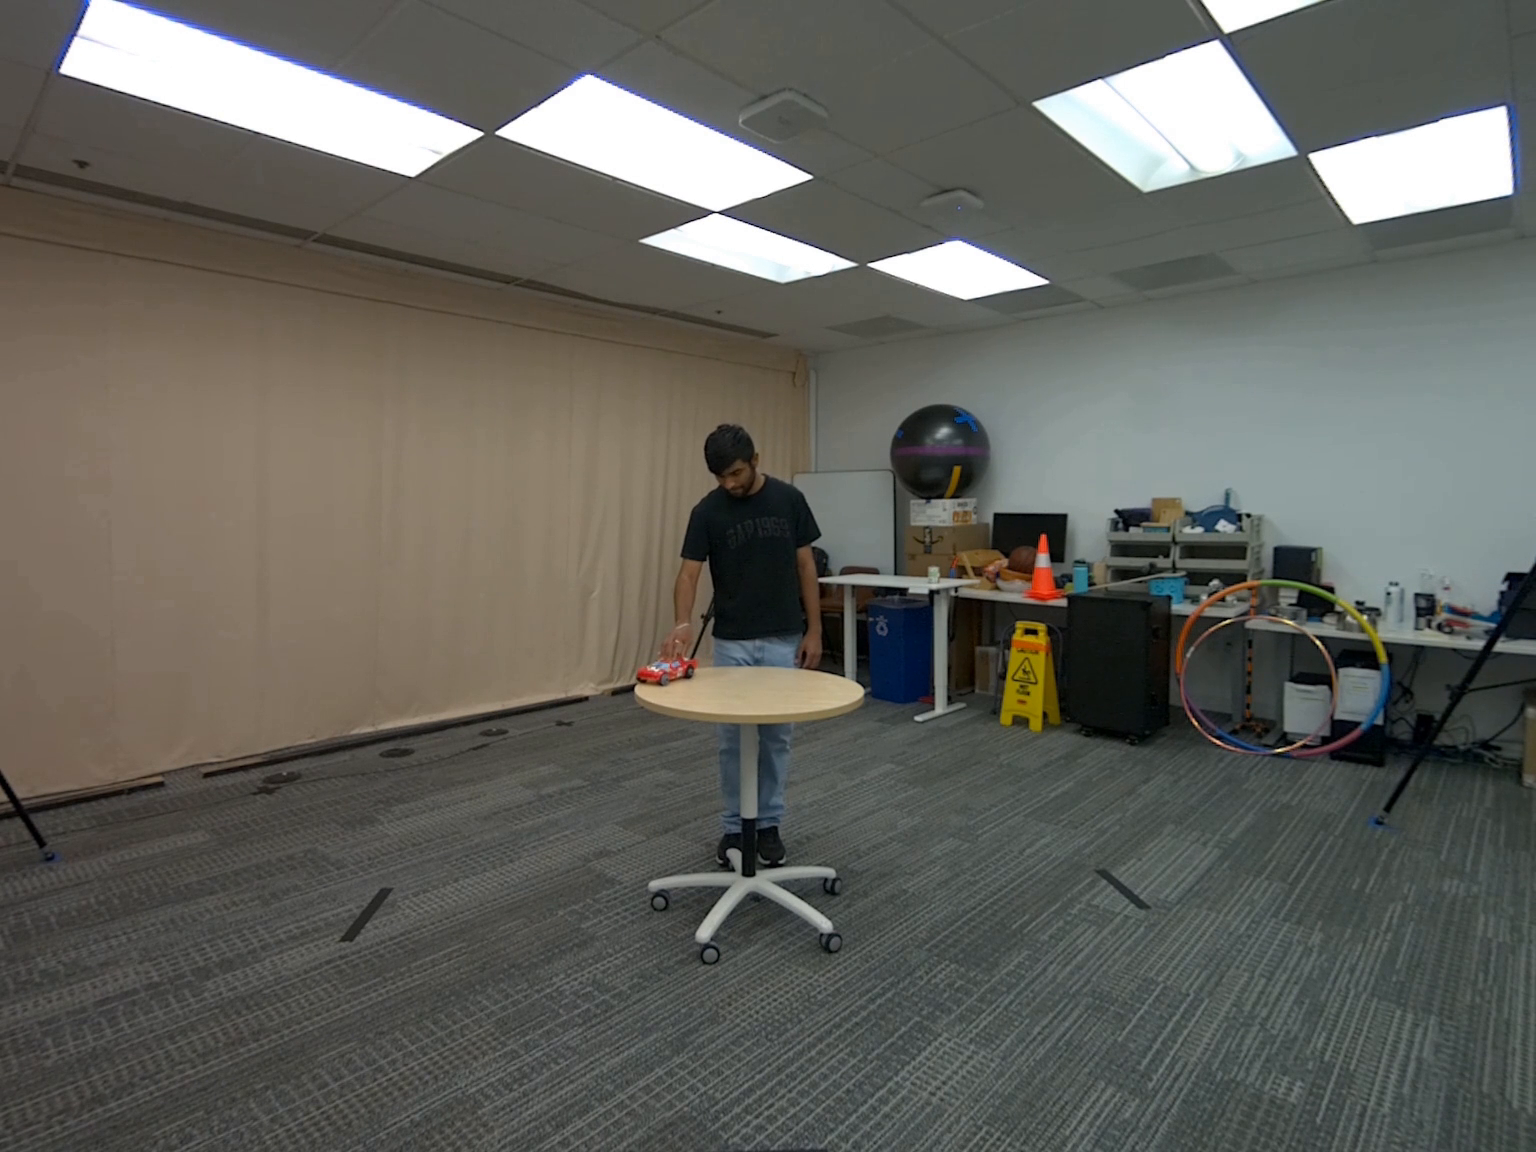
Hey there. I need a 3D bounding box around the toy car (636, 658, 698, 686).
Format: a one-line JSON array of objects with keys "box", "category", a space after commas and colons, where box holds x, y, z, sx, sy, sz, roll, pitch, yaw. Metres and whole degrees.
[{"box": [-0.342, 0.334, 2.956, 0.134, 0.082, 0.249, 2, 15, 32], "category": "toy car"}]
